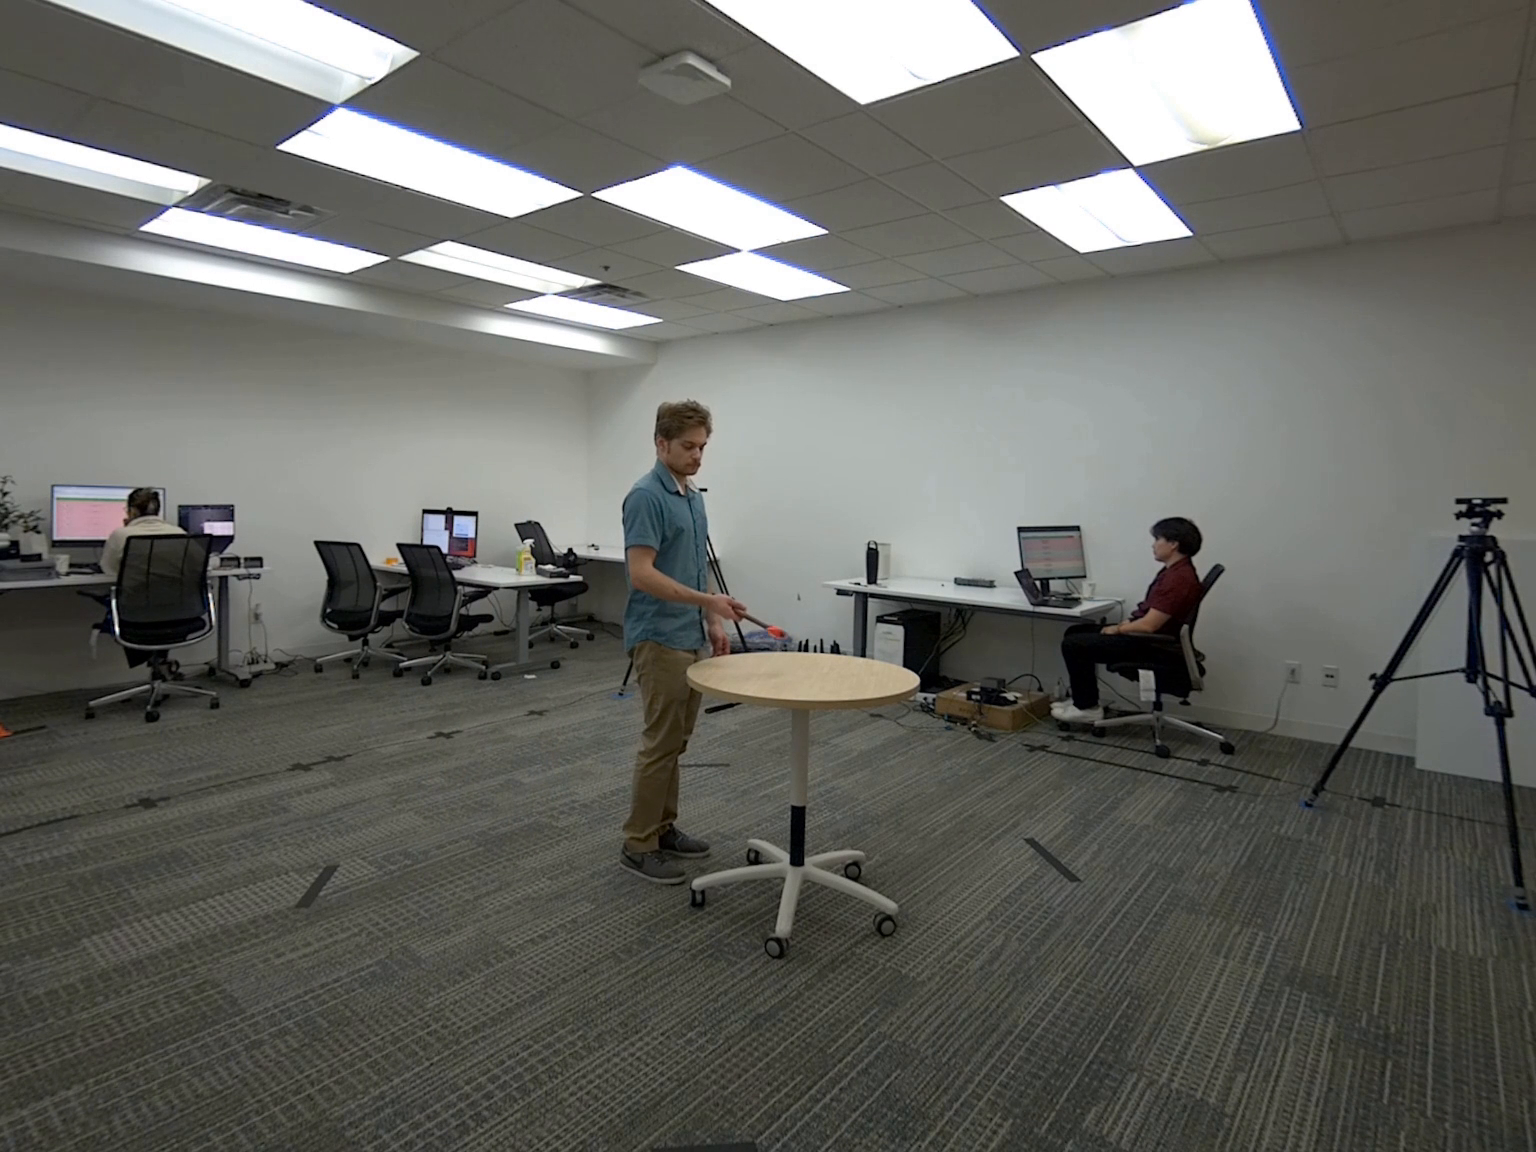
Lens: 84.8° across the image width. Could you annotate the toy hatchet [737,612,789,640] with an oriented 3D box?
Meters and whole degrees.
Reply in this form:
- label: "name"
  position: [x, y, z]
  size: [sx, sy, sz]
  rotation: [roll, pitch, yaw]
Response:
- label: "toy hatchet"
  position: [-0.047, 0.150, 2.817]
  size: [0.126, 0.029, 0.281]
  rotation: [21, 4, -38]
